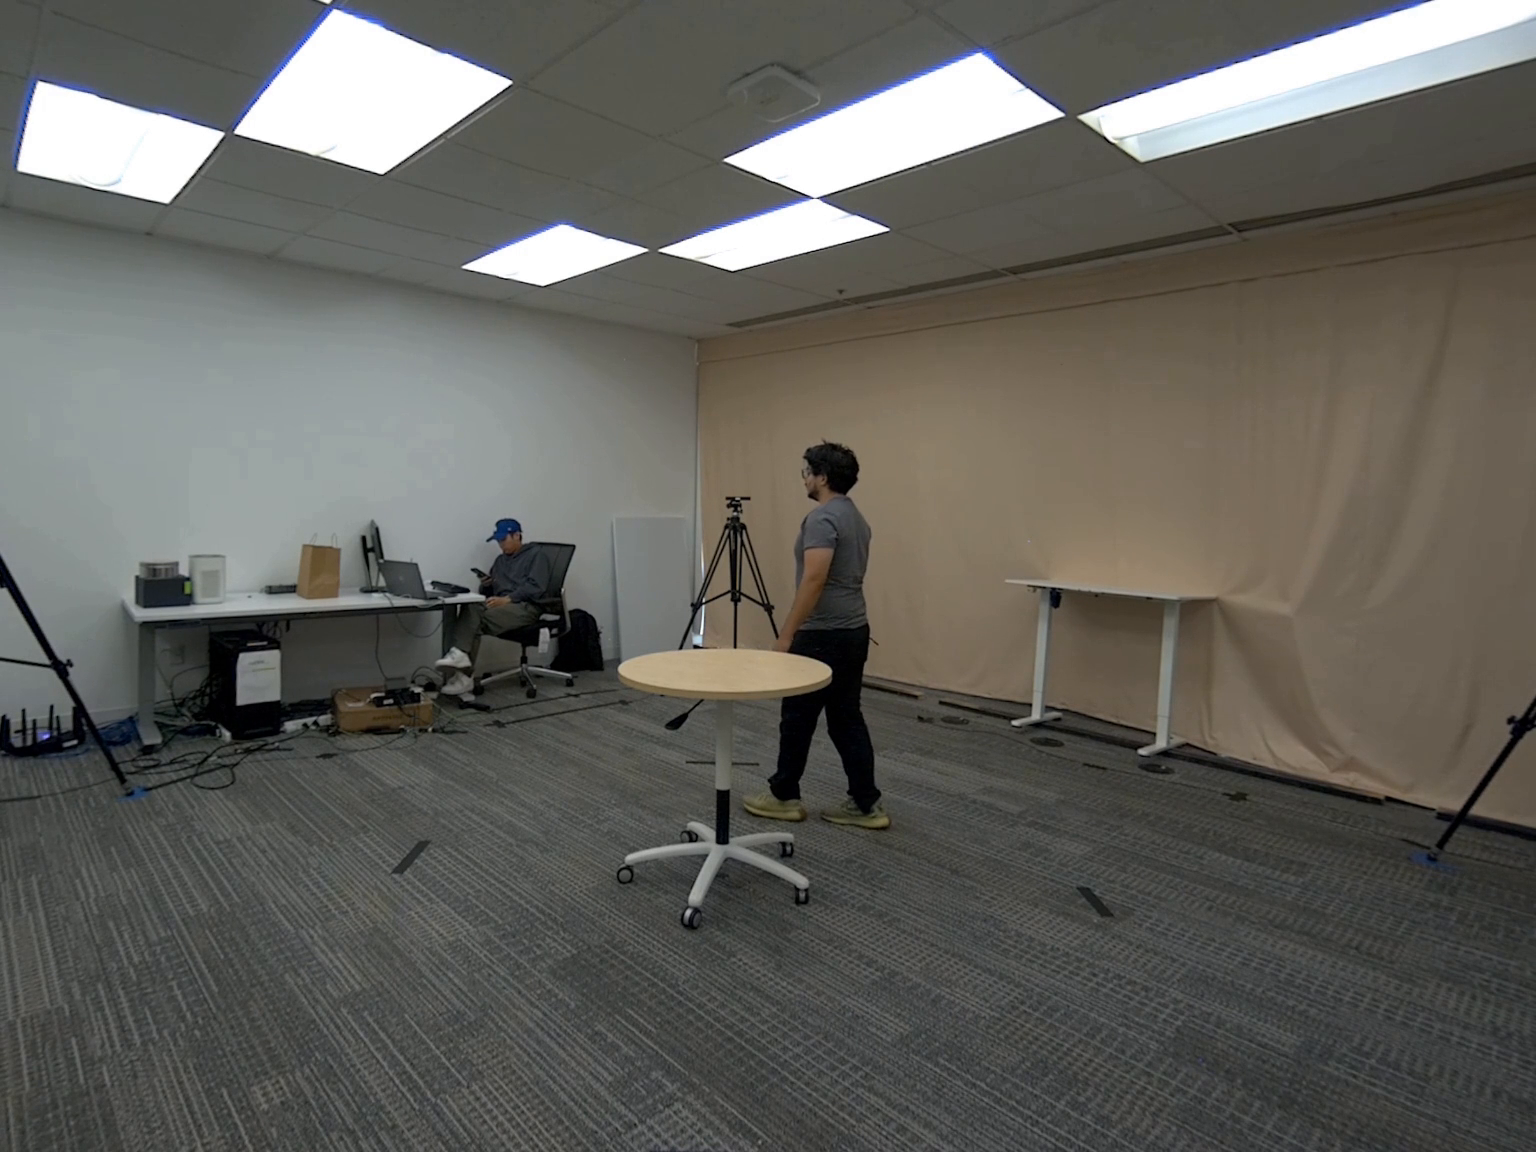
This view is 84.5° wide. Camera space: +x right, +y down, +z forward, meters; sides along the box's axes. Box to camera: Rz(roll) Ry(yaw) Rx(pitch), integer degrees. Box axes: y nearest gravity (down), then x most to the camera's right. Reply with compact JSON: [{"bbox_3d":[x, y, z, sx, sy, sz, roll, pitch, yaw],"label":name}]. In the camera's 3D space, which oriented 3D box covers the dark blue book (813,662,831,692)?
[{"bbox_3d":[0.265,0.442,3.983,0.045,0.246,0.162,13,-5,1],"label":"dark blue book"}]
